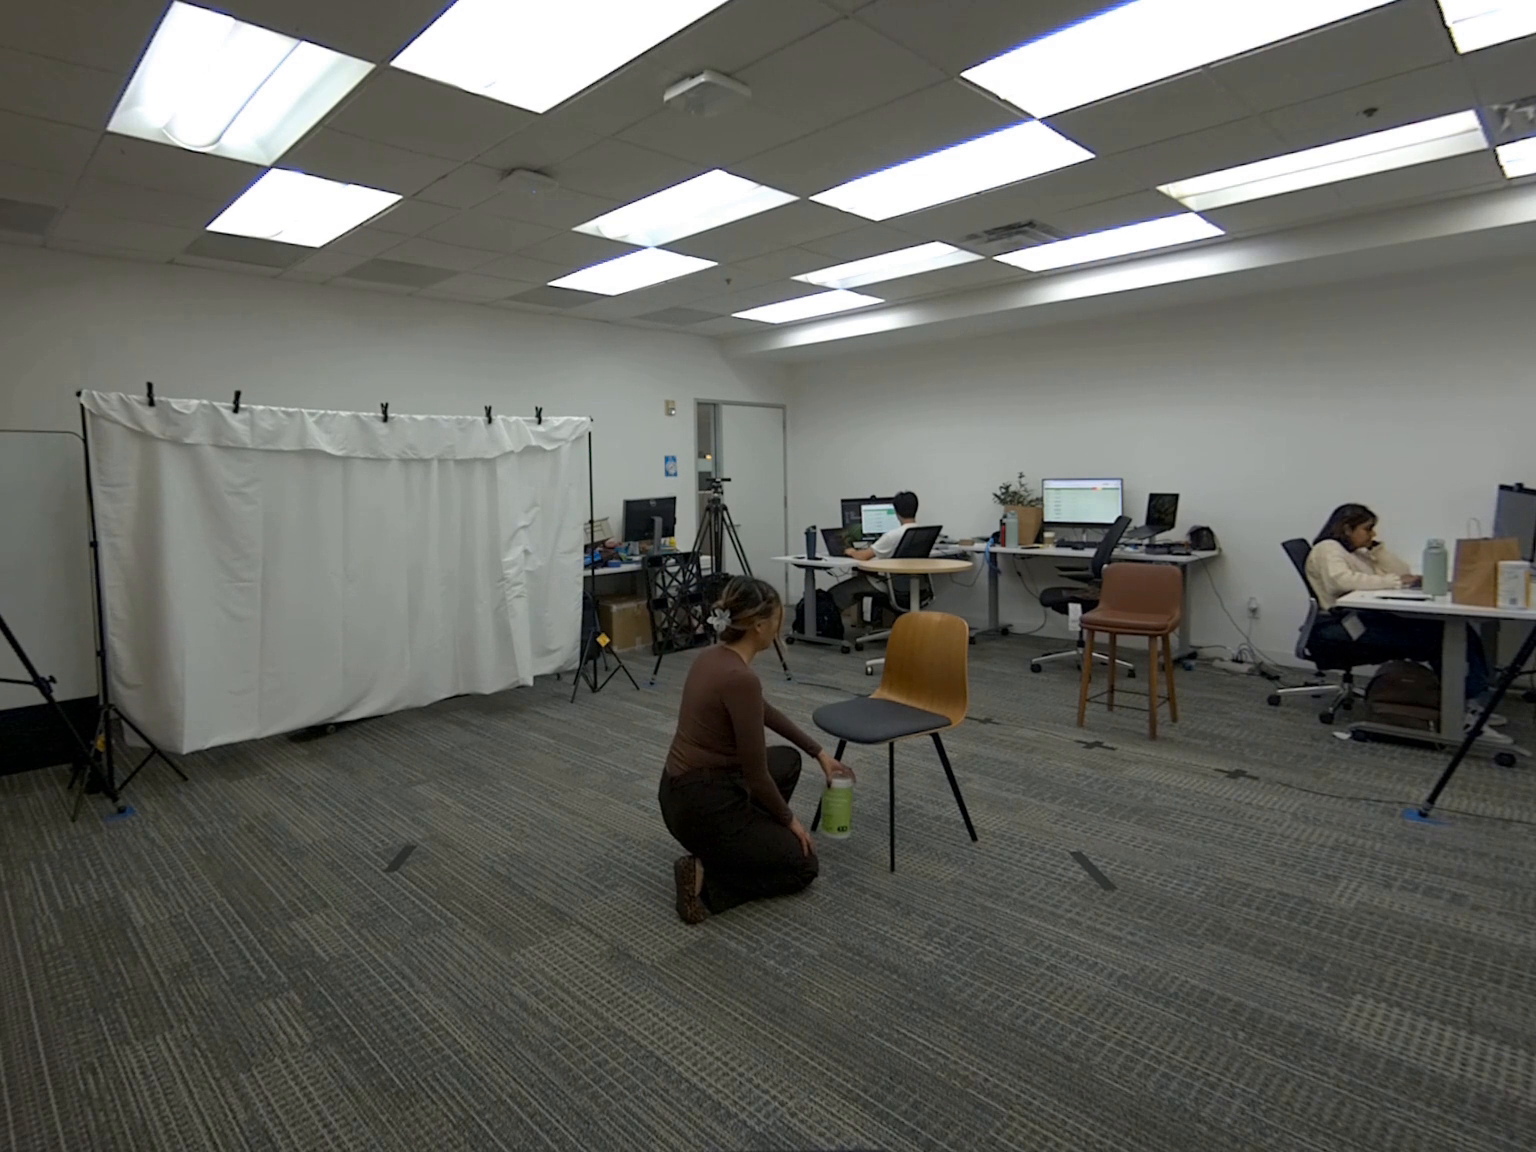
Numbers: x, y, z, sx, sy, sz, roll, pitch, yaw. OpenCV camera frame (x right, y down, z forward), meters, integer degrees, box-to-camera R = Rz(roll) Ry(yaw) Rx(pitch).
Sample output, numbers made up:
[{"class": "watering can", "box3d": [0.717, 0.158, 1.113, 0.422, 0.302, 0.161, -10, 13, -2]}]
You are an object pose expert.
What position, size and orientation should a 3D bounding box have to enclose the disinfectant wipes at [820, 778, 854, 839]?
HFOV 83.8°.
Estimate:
[{"class": "disinfectant wipes", "box3d": [0.249, 0.834, 3.117, 0.118, 0.217, 0.118, 2, 4, -2]}]
